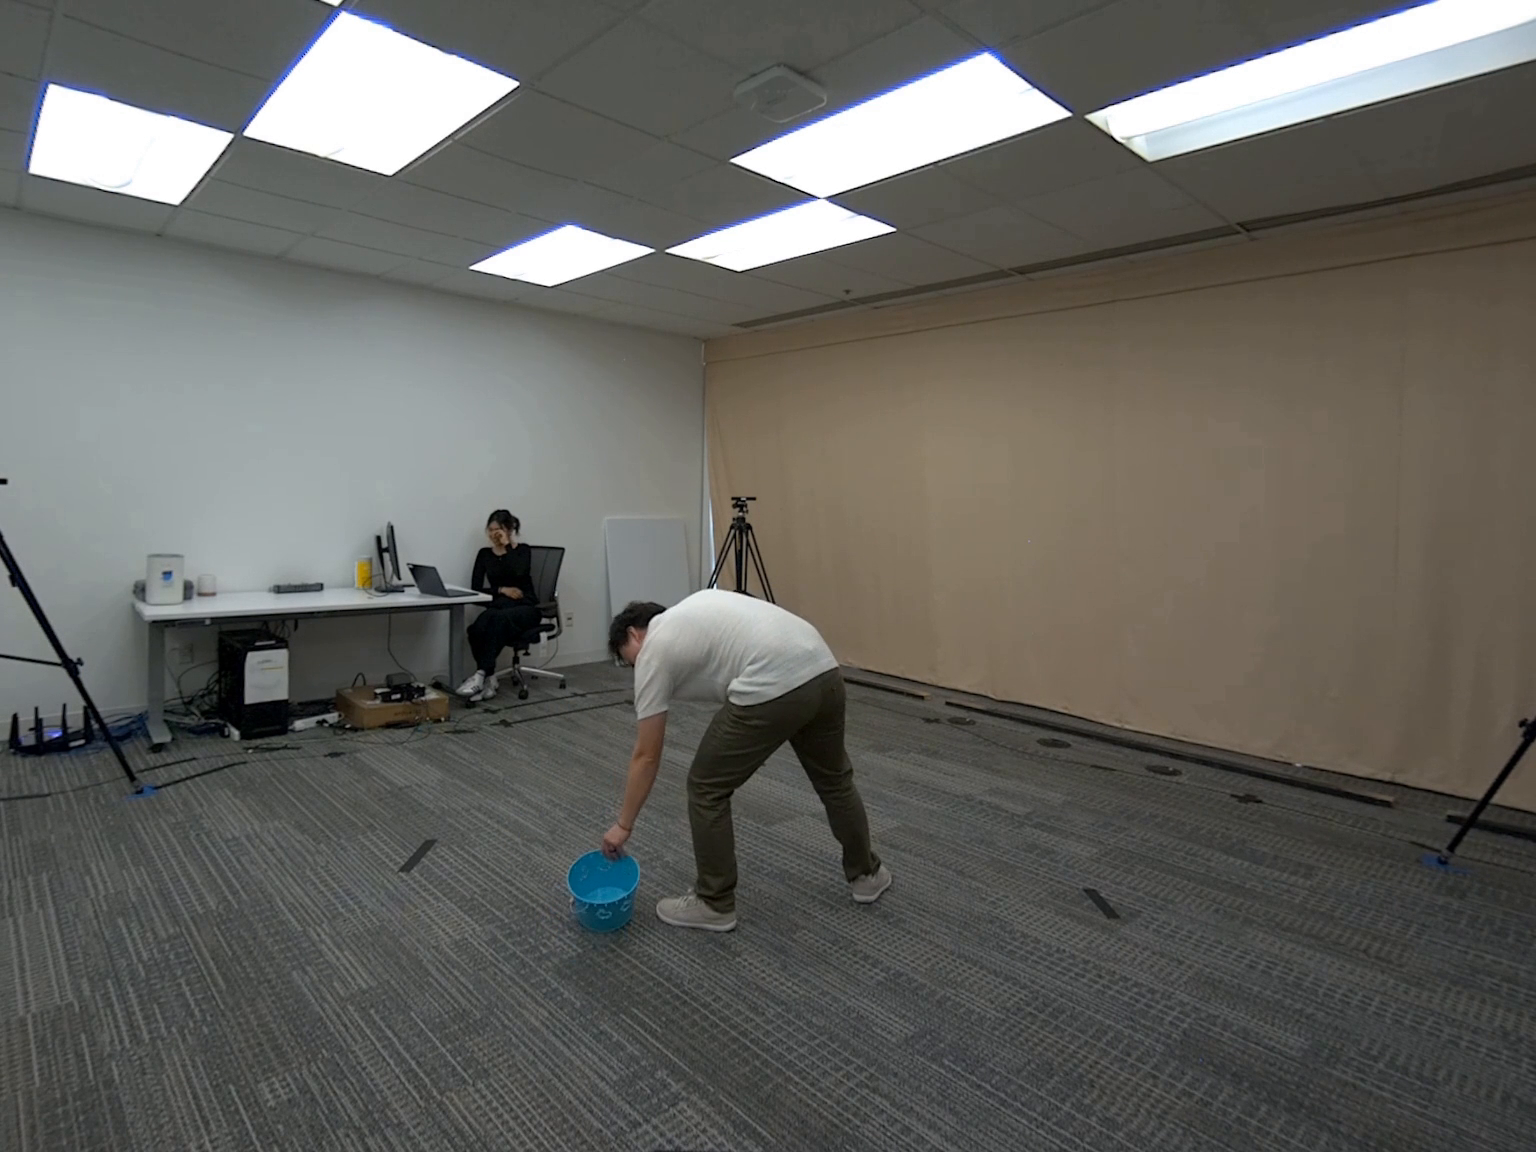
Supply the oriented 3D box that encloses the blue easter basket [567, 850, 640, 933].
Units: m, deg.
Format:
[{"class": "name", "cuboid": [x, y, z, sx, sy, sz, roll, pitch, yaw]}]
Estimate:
[{"class": "blue easter basket", "cuboid": [-0.523, 1.031, 2.730, 0.243, 0.153, 0.248, -1, 24, -1]}]
